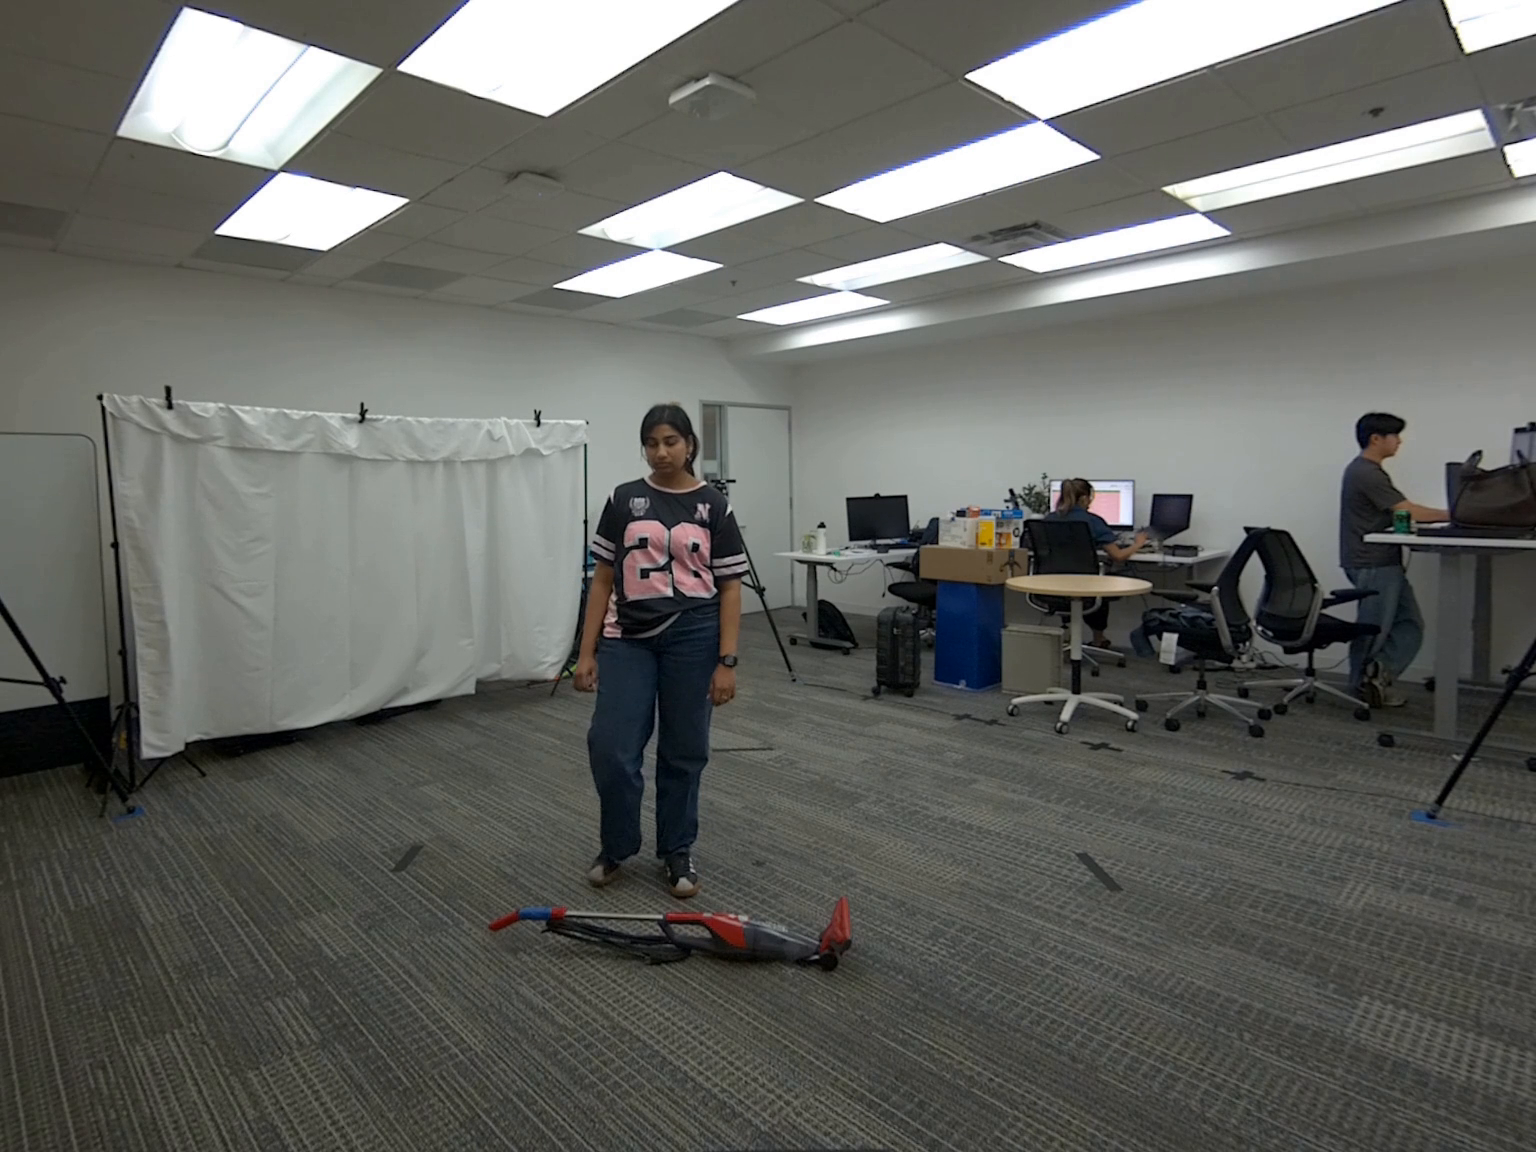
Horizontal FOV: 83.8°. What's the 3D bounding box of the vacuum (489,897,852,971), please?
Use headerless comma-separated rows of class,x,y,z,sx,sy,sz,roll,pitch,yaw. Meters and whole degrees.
vacuum,-0.312,1.057,2.532,1.054,0.143,0.252,-1,5,5
